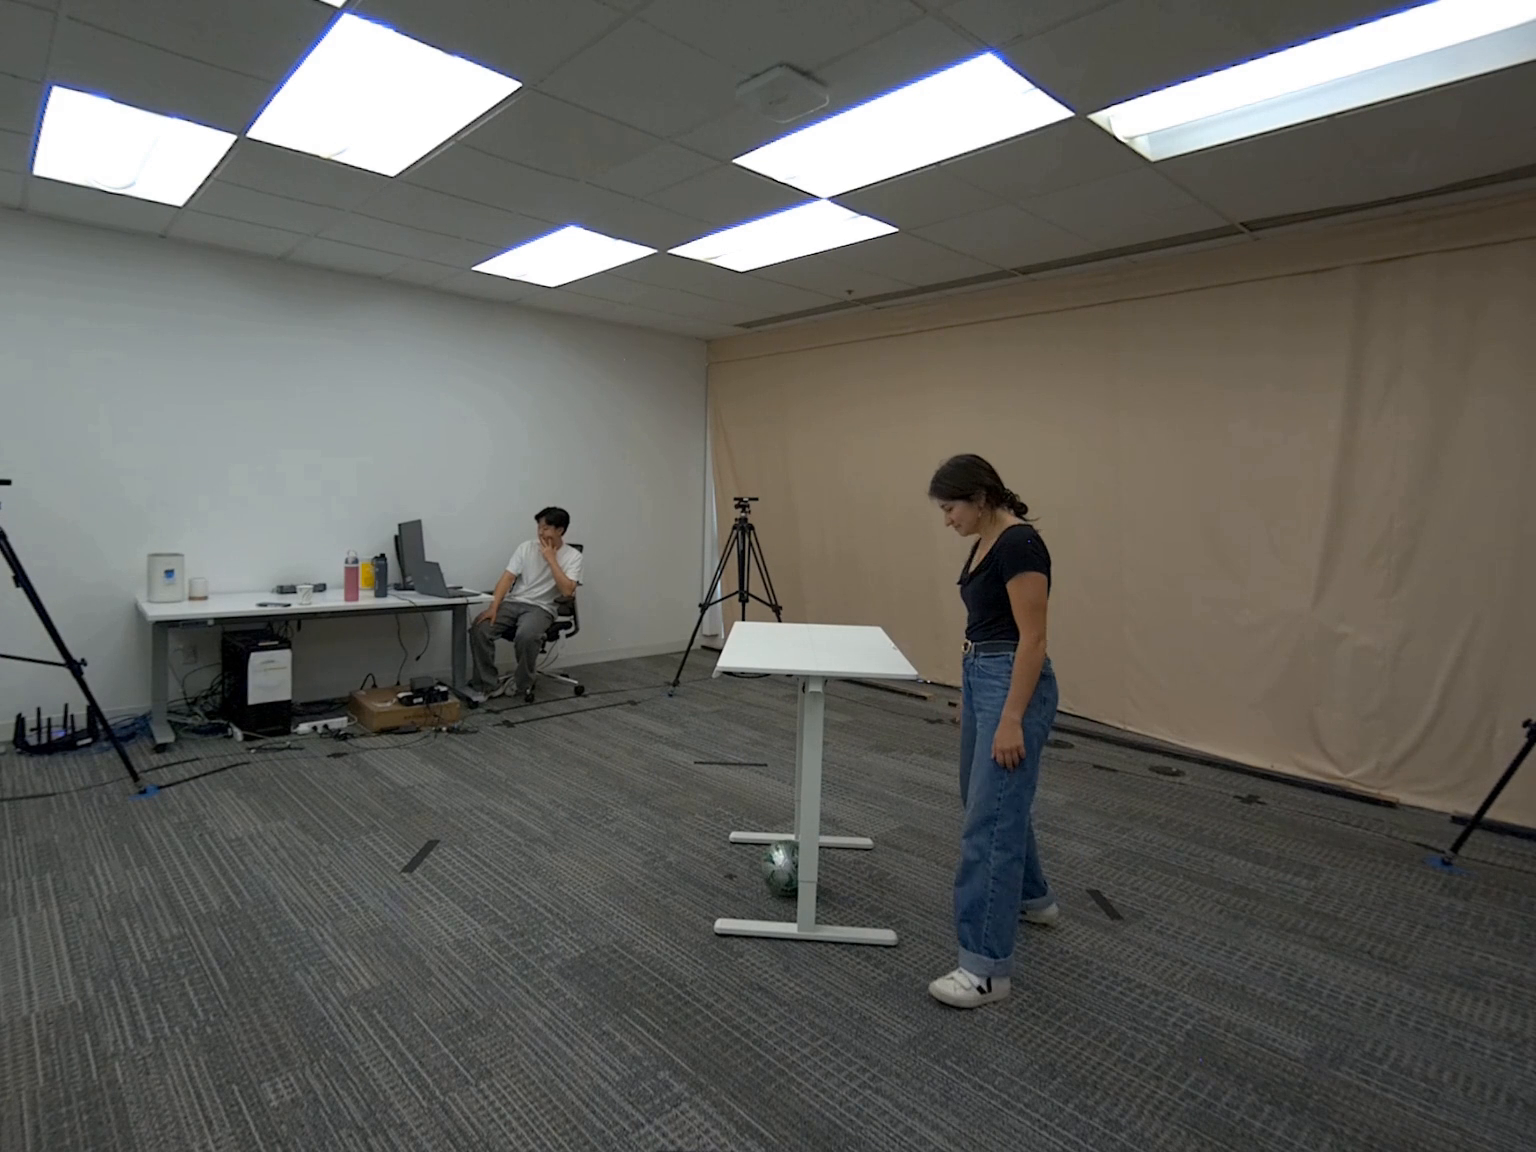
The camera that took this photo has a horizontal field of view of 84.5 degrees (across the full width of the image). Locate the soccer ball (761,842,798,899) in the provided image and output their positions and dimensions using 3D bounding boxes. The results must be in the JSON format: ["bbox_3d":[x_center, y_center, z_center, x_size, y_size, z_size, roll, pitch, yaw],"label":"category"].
[{"bbox_3d":[0.056,1.035,2.971,0.187,0.187,0.188,1,4,-1],"label":"soccer ball"}]
